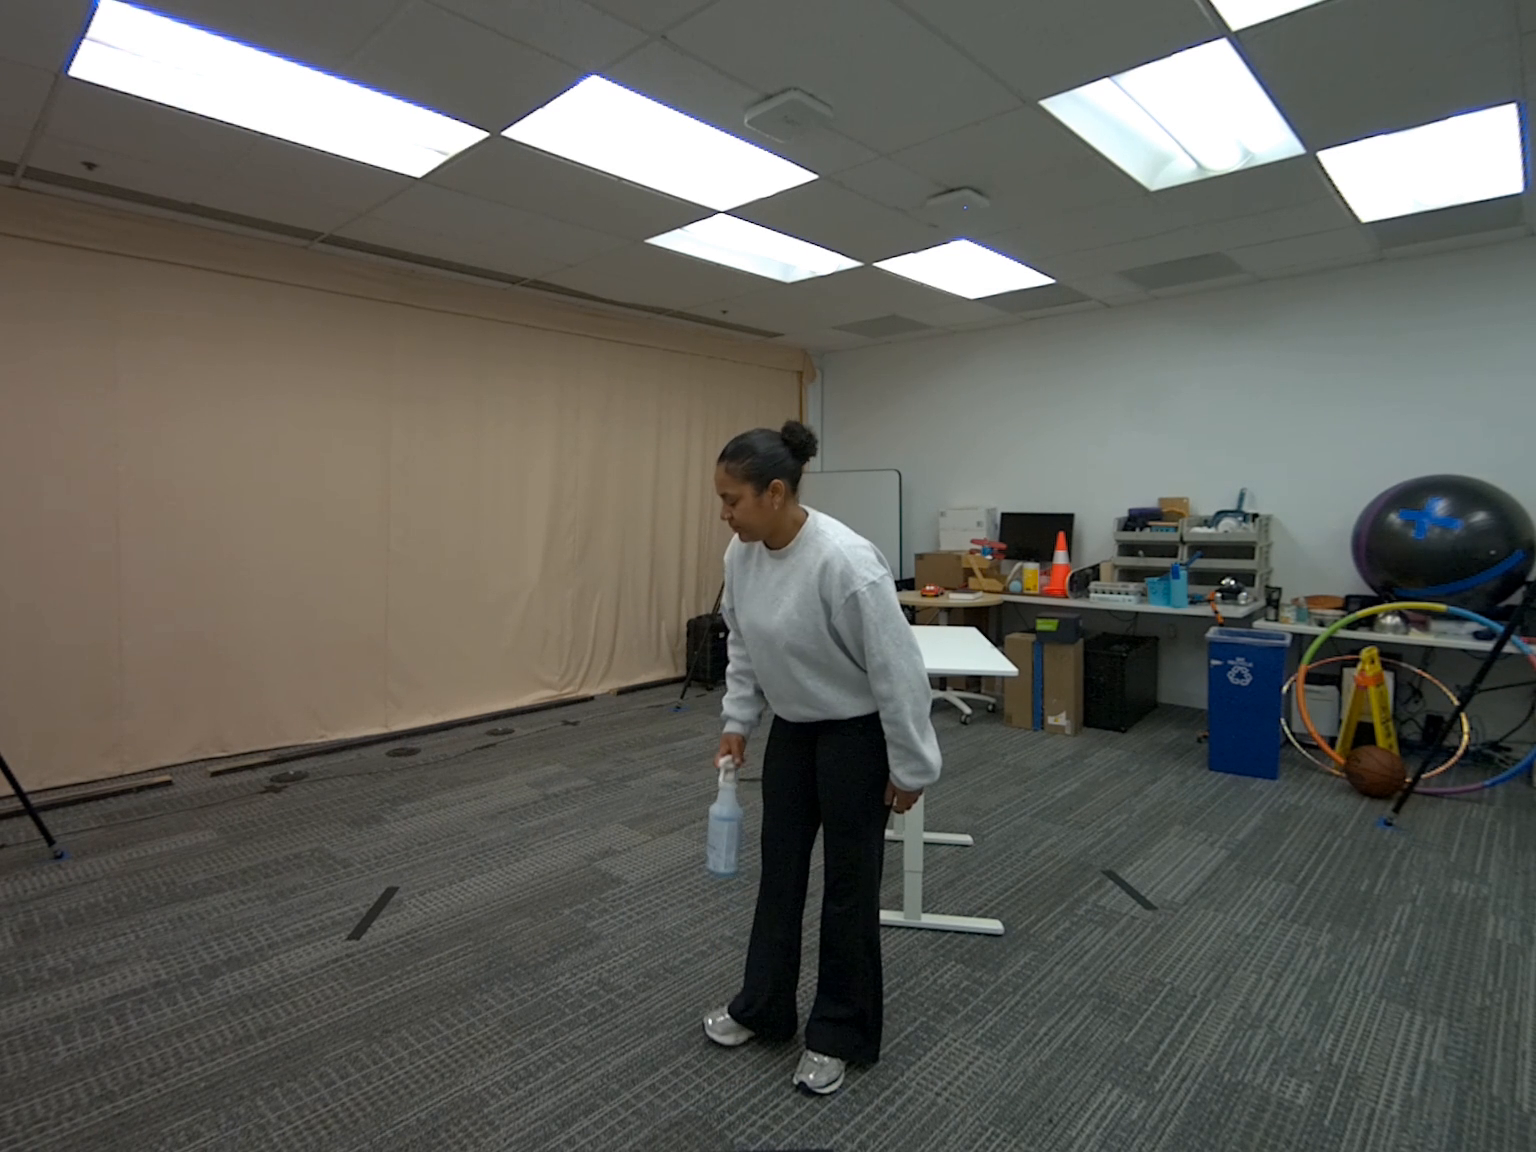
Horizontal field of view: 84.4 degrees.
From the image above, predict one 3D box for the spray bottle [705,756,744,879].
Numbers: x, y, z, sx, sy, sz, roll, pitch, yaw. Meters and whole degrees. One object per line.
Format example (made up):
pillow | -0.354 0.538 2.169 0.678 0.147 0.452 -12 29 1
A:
spray bottle | -0.096 0.609 2.117 0.087 0.297 0.090 2 3 -40
